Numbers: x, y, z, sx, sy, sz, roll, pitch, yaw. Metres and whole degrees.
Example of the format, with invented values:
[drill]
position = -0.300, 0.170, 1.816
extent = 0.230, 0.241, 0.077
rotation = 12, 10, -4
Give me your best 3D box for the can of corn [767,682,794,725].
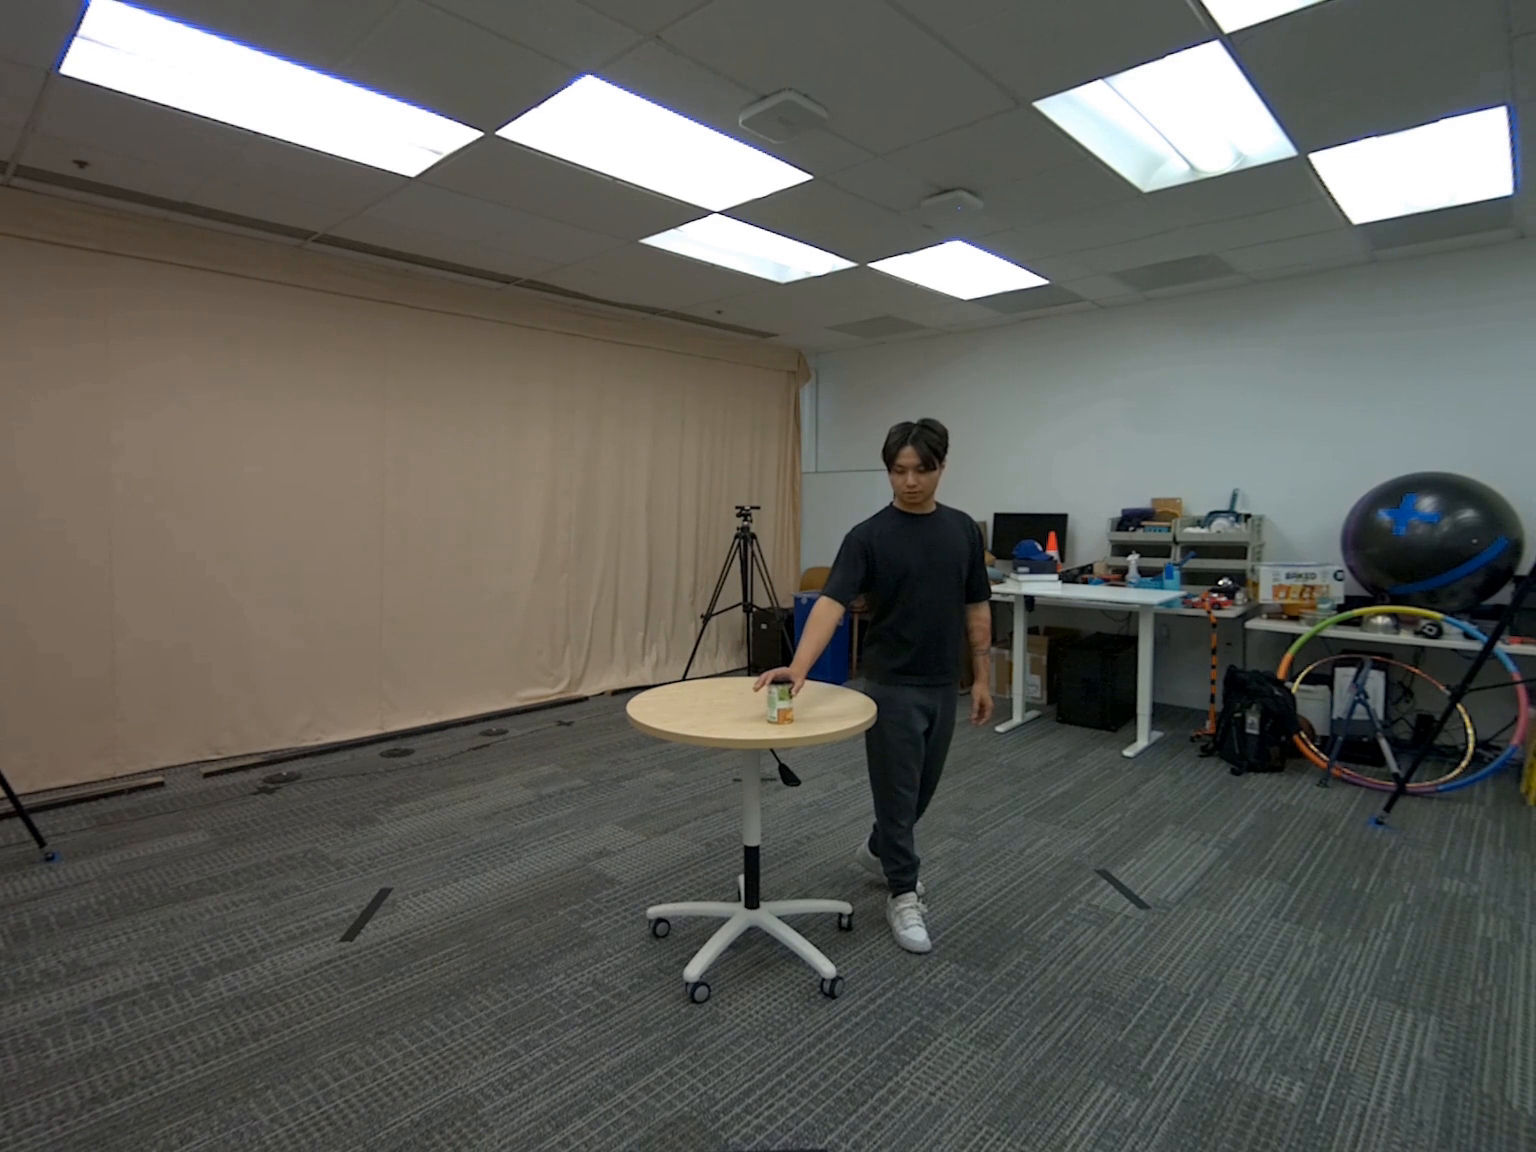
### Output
[can of corn]
position = 0.044, 0.356, 2.383
extent = 0.074, 0.111, 0.074
rotation = 0, 3, -2
